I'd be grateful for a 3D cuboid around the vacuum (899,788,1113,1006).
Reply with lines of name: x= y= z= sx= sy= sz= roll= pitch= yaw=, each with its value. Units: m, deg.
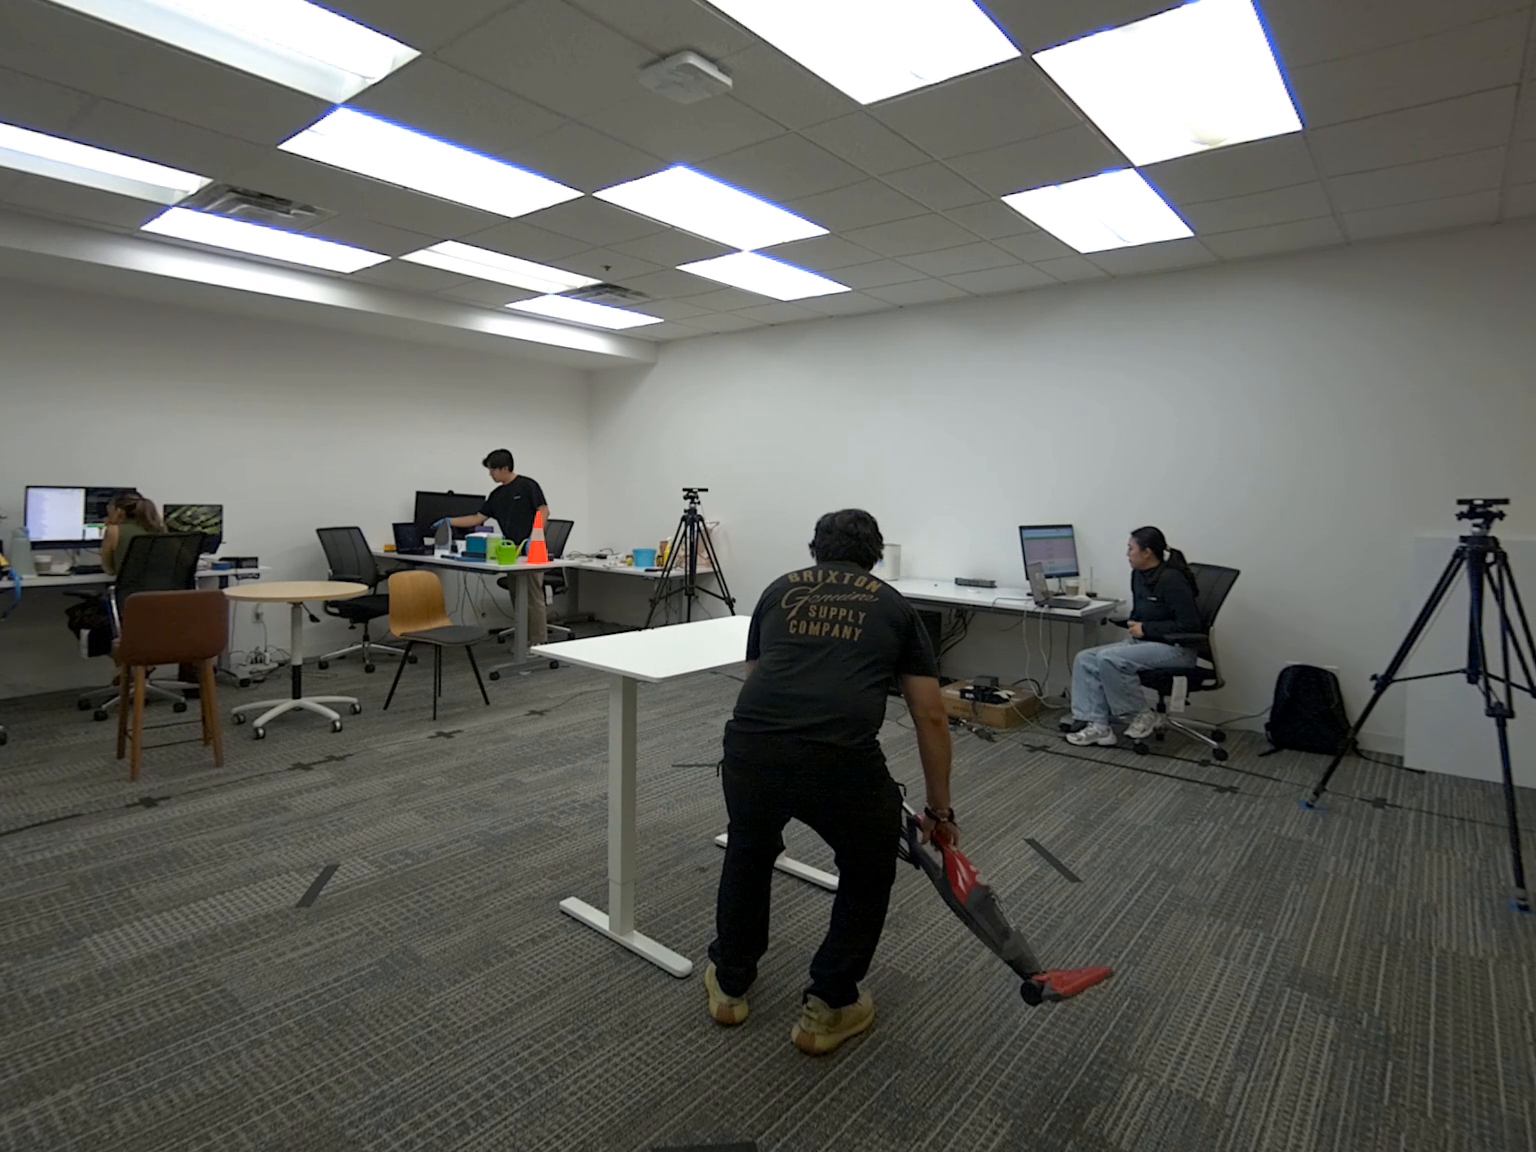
vacuum: x=0.399 y=0.705 z=2.334 sx=0.243 sy=0.143 sz=1.095 roll=15 pitch=19 yaw=-42
